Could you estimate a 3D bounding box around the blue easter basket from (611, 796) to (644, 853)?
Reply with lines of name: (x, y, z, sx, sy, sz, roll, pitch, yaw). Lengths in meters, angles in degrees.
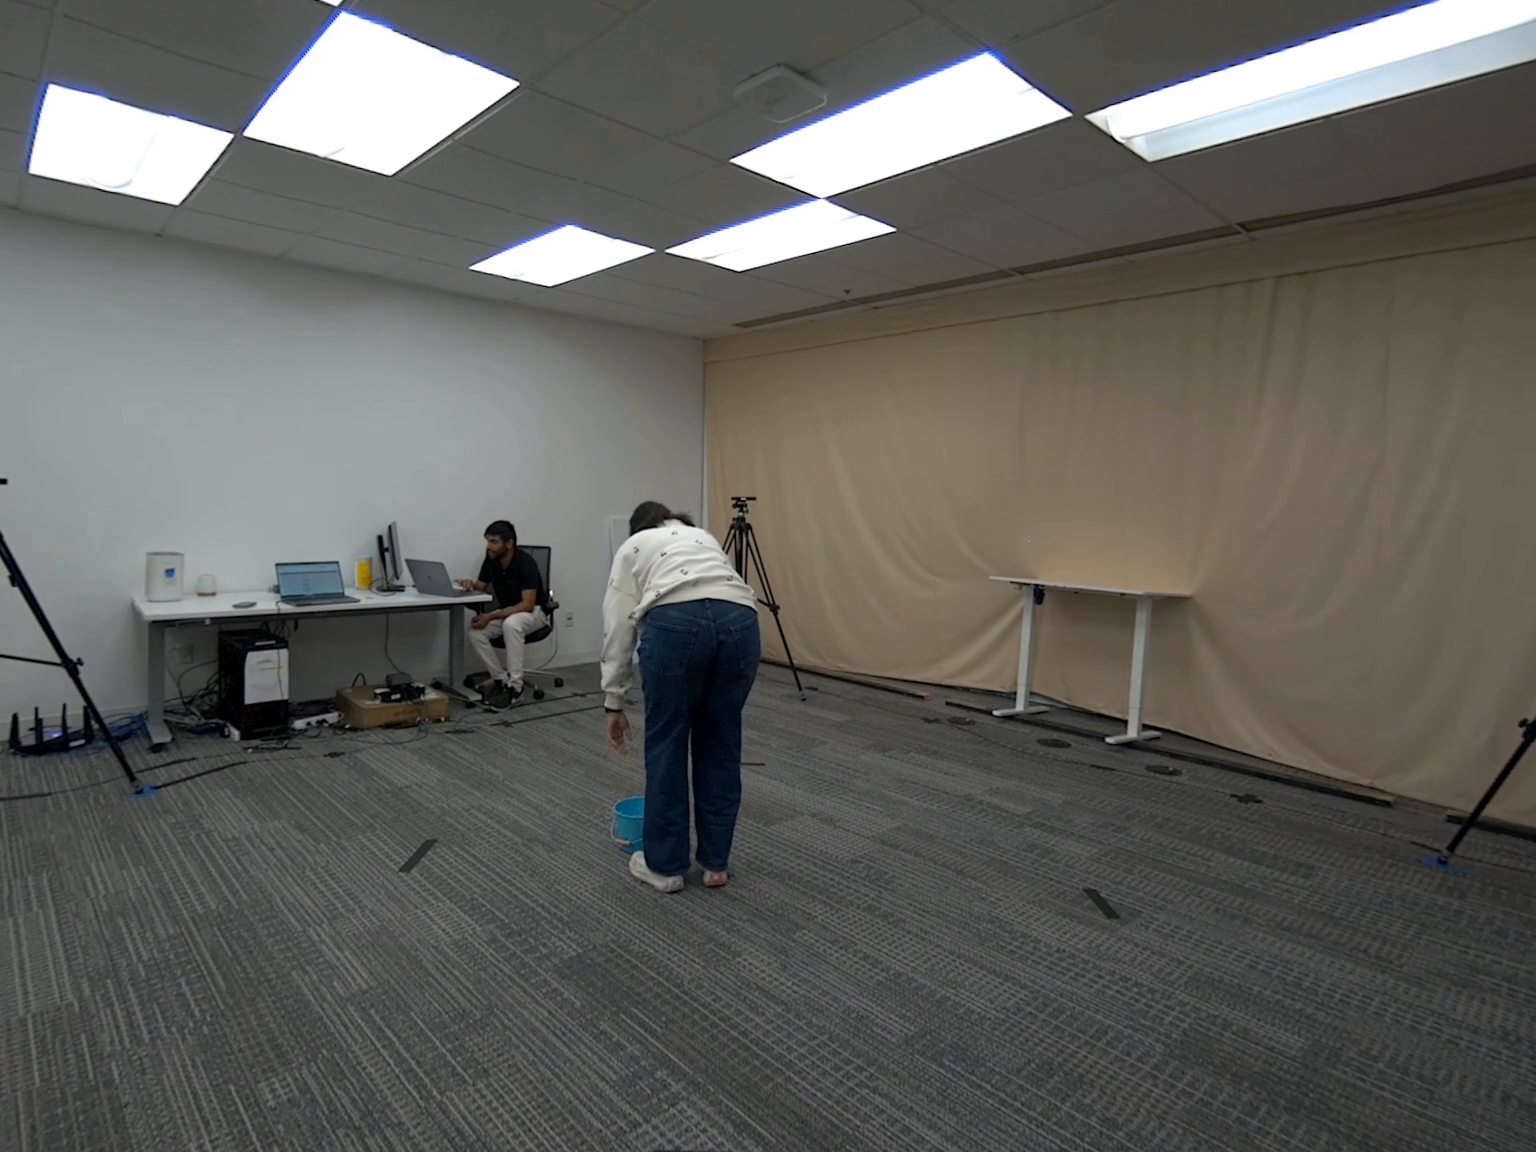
blue easter basket: (-0.517, 0.998, 3.371, 0.243, 0.155, 0.244, 2, 4, -1)
